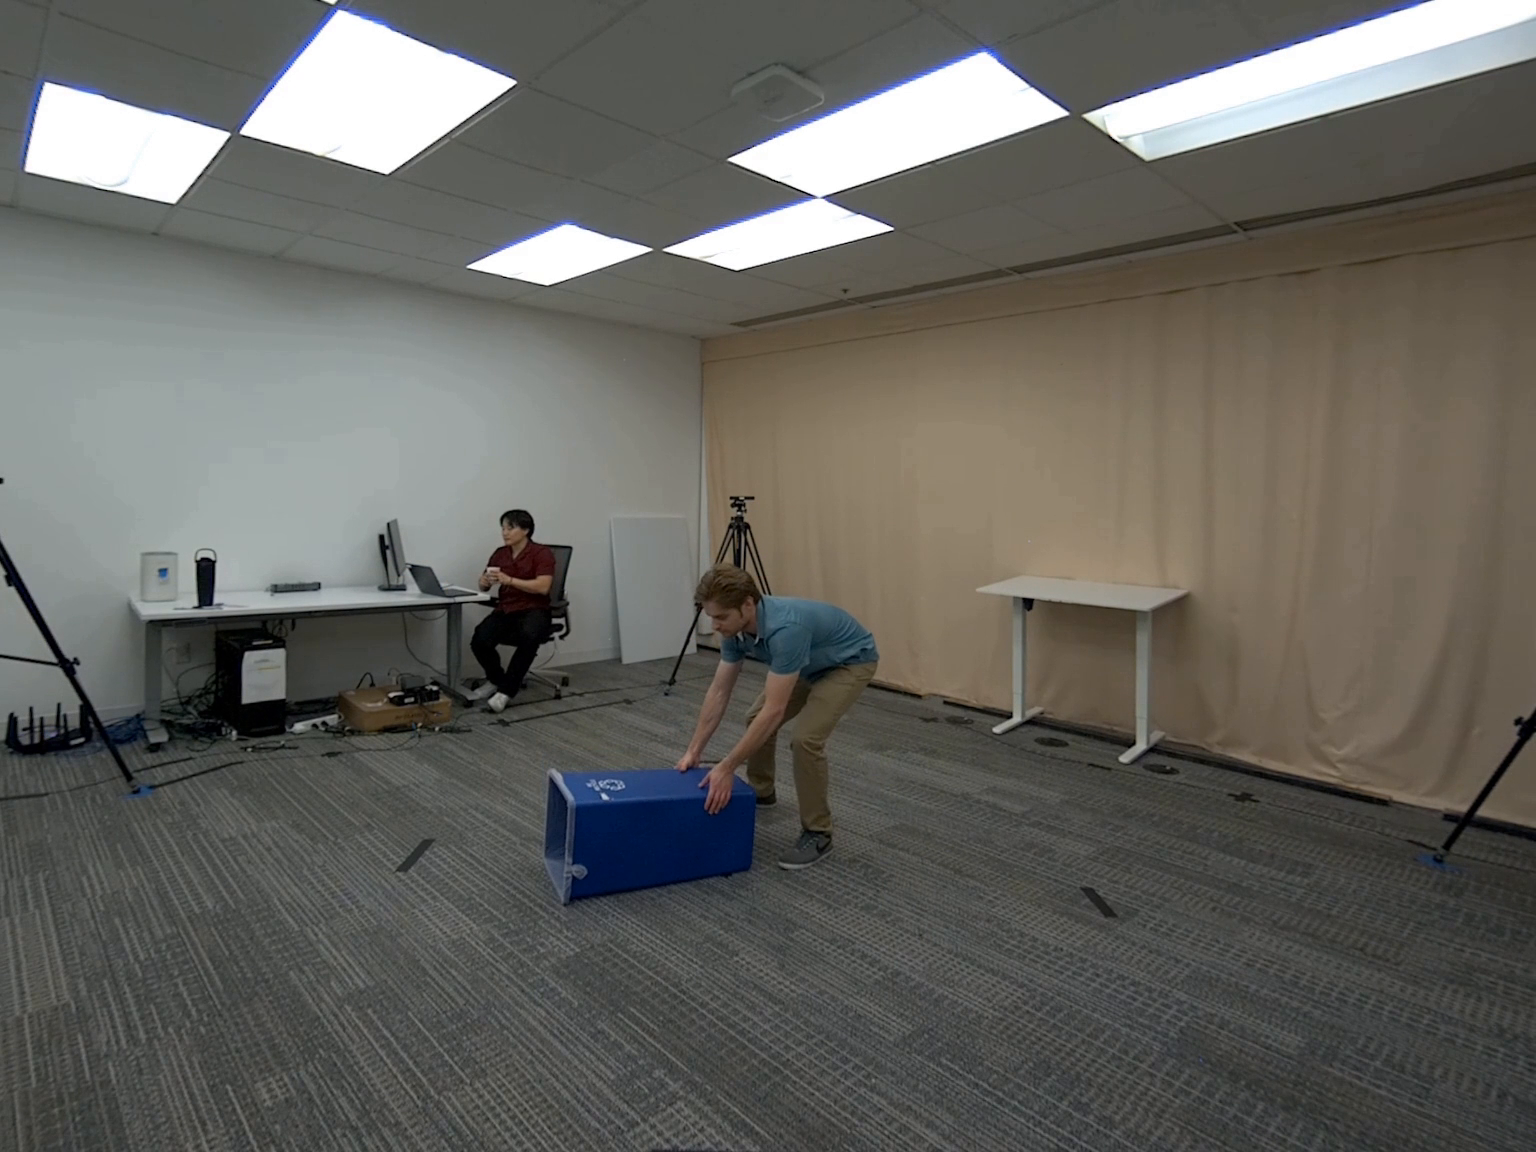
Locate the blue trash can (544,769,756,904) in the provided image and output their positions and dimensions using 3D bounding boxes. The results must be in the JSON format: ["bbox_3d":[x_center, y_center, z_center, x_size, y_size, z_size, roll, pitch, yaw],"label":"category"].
[{"bbox_3d":[-0.449,0.929,3.133,0.700,0.377,0.382,2,4,-25],"label":"blue trash can"}]
